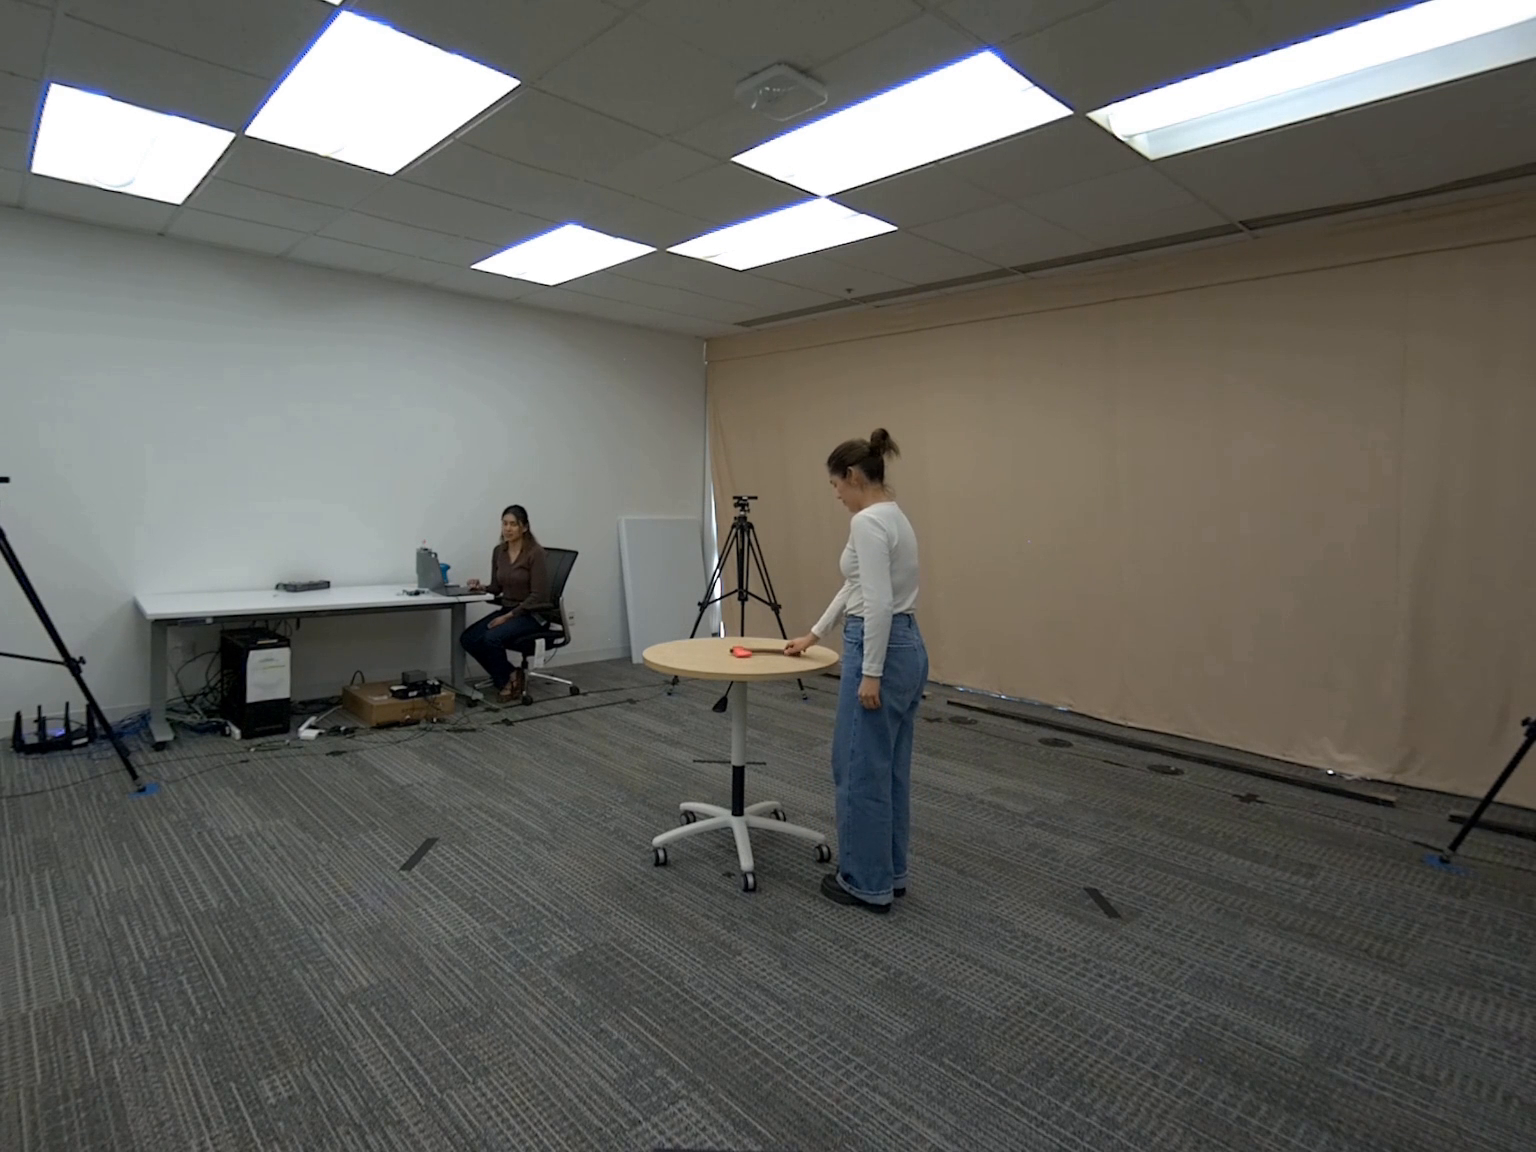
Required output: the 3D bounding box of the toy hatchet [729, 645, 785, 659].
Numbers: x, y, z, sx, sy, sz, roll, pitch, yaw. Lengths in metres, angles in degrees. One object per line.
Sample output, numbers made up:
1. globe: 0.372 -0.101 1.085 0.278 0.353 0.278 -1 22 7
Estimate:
1. toy hatchet: -0.021 0.295 3.231 0.273 0.029 0.130 2 5 14
